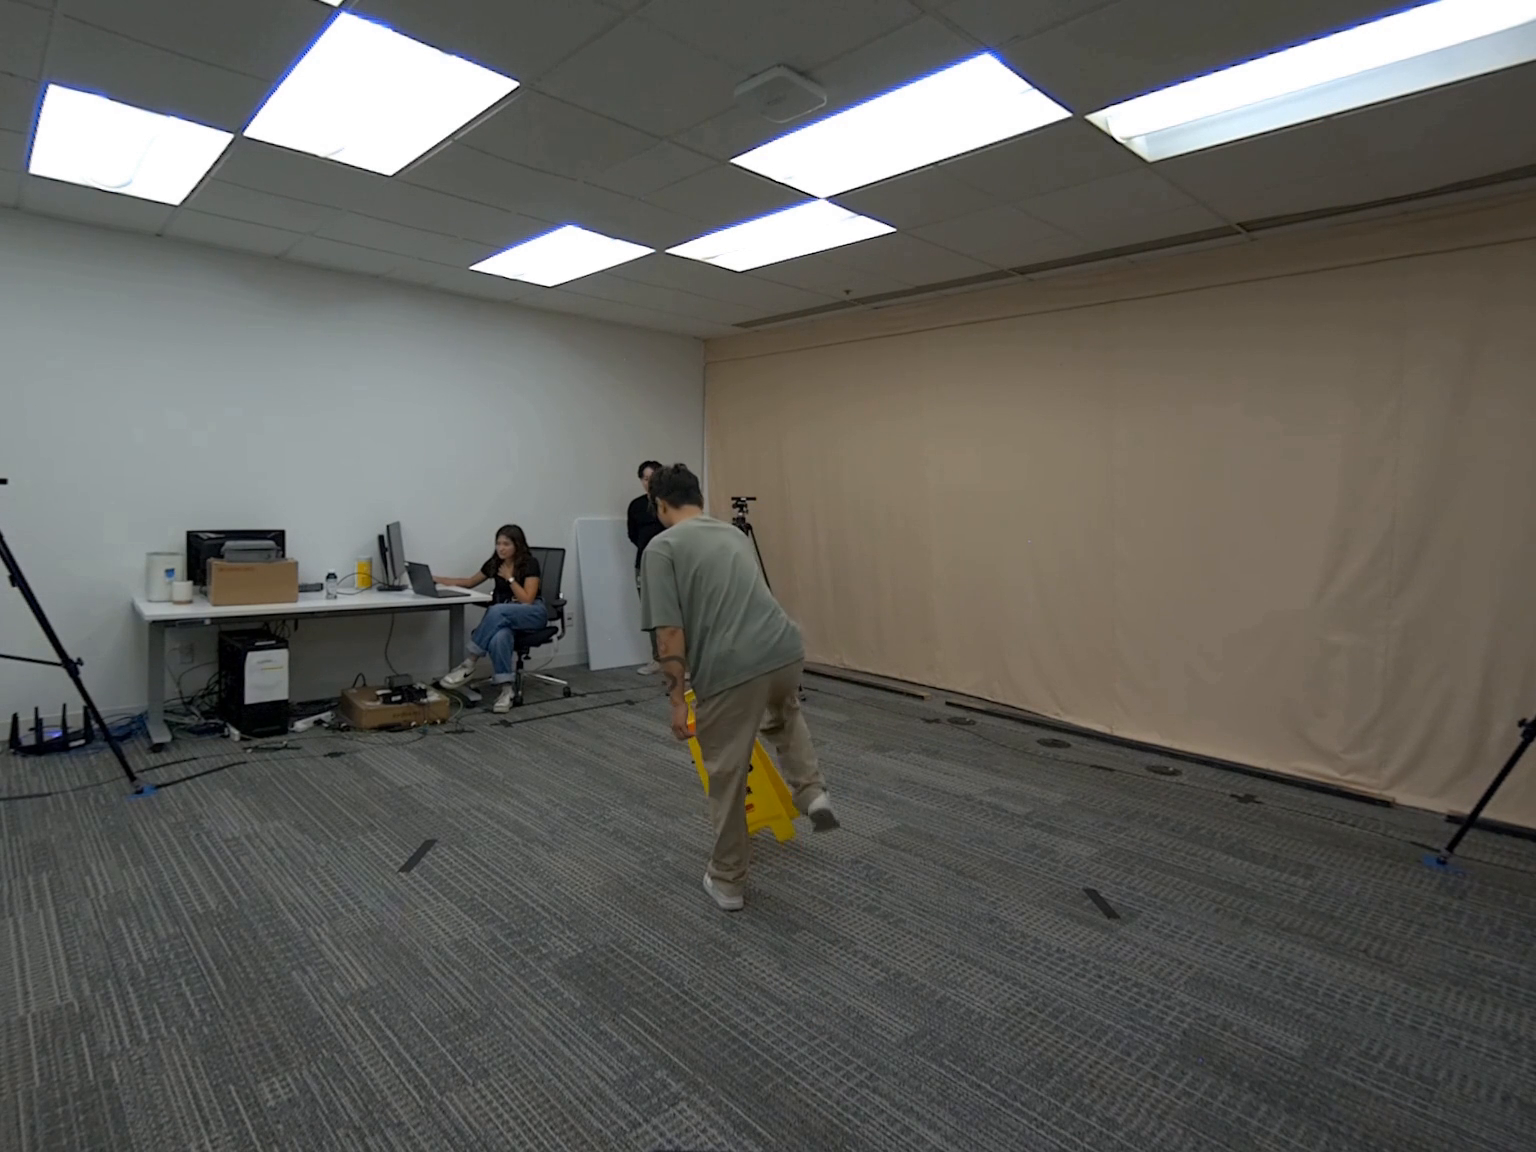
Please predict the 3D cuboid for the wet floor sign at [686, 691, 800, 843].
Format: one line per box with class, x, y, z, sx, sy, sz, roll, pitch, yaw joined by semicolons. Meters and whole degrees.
wet floor sign;-0.151;0.745;3.343;0.284;0.648;0.287;-22;-3;11
